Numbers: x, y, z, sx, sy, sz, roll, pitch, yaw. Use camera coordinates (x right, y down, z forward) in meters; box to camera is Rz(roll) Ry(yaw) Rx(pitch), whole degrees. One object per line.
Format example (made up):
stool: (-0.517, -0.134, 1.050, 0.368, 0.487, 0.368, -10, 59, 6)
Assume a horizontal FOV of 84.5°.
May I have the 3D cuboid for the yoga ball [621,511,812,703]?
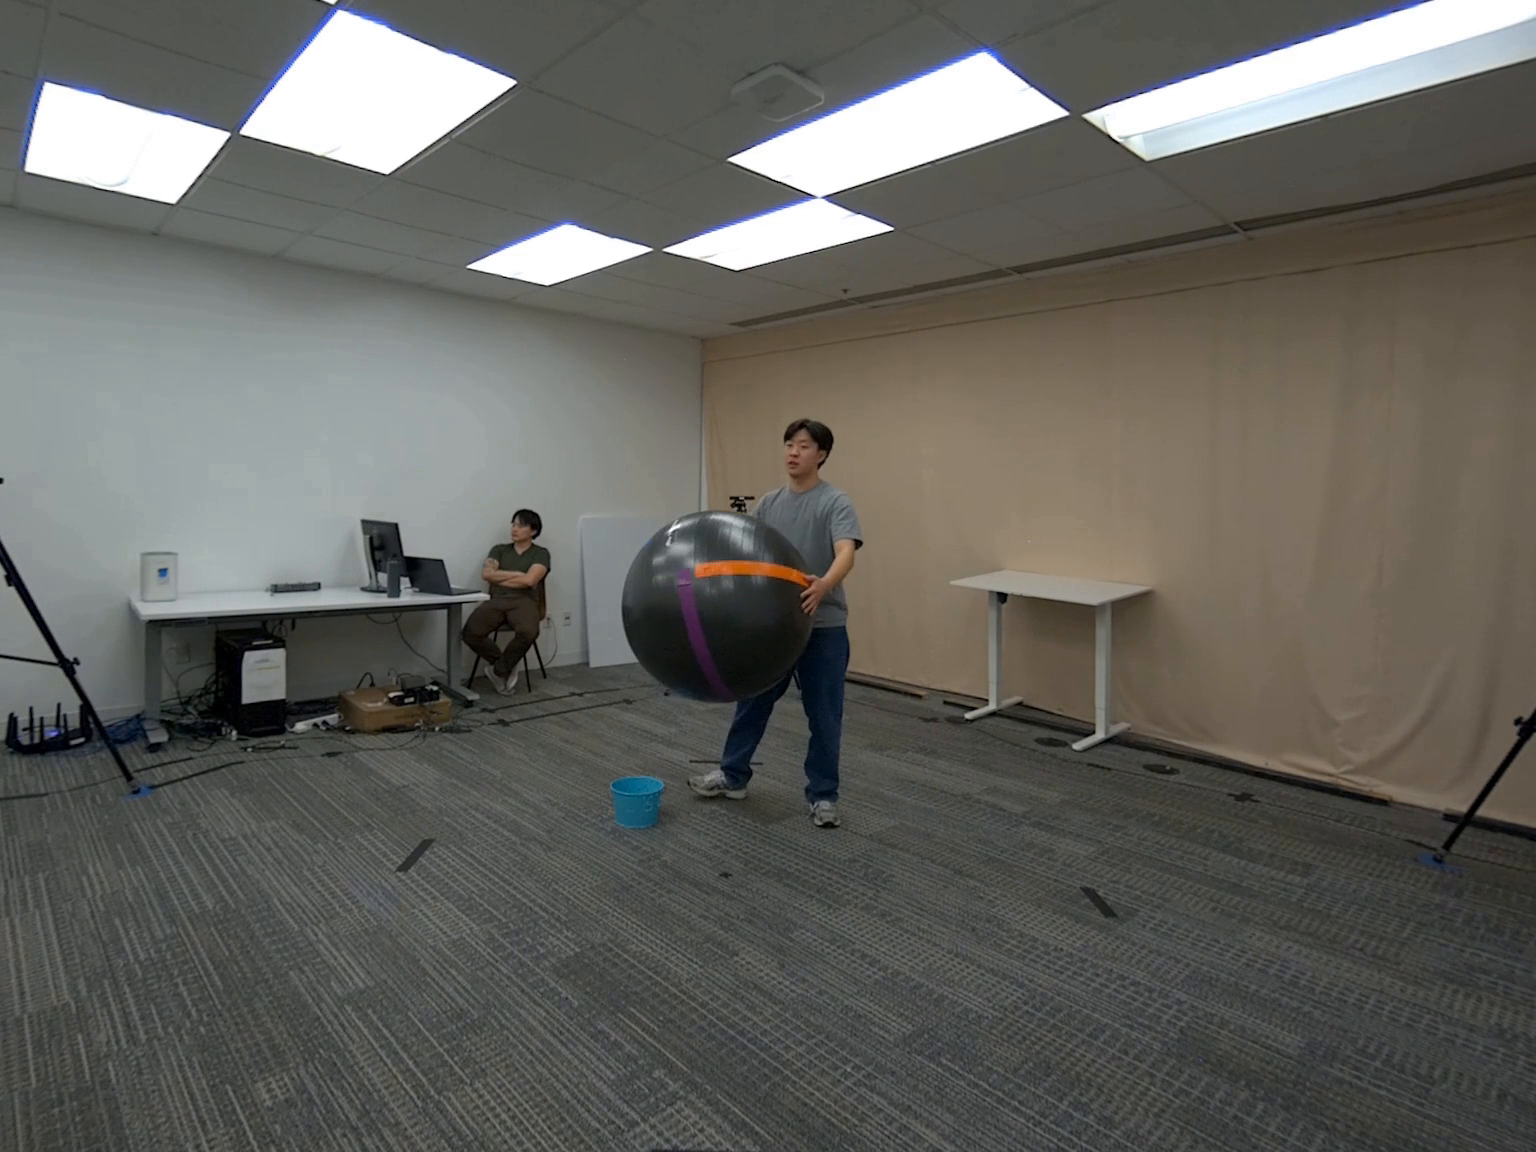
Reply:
yoga ball: (-0.204, 0.127, 3.328, 0.757, 0.756, 0.761, 1, 4, -1)
